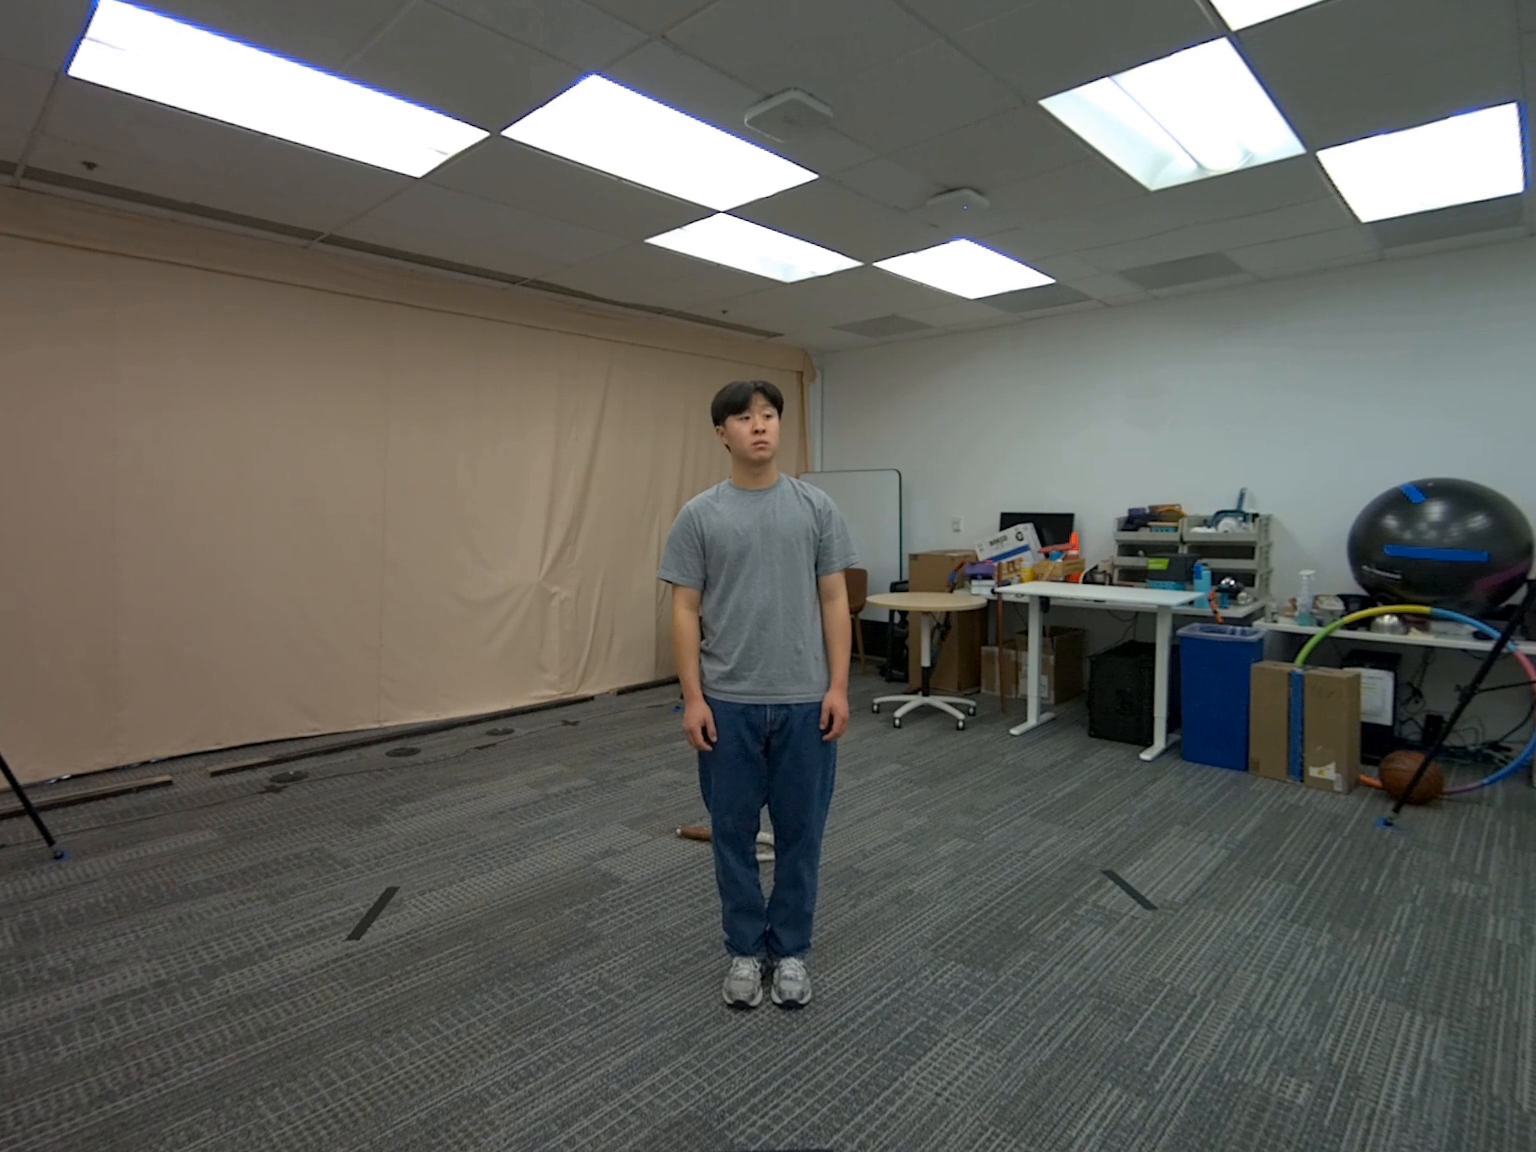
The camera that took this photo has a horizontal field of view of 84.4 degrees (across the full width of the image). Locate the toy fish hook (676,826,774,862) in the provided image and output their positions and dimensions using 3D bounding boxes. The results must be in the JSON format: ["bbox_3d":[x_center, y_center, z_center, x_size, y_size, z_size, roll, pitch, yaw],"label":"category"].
[{"bbox_3d":[-0.155,1.085,3.424,0.515,0.048,0.221,1,4,16],"label":"toy fish hook"}]
